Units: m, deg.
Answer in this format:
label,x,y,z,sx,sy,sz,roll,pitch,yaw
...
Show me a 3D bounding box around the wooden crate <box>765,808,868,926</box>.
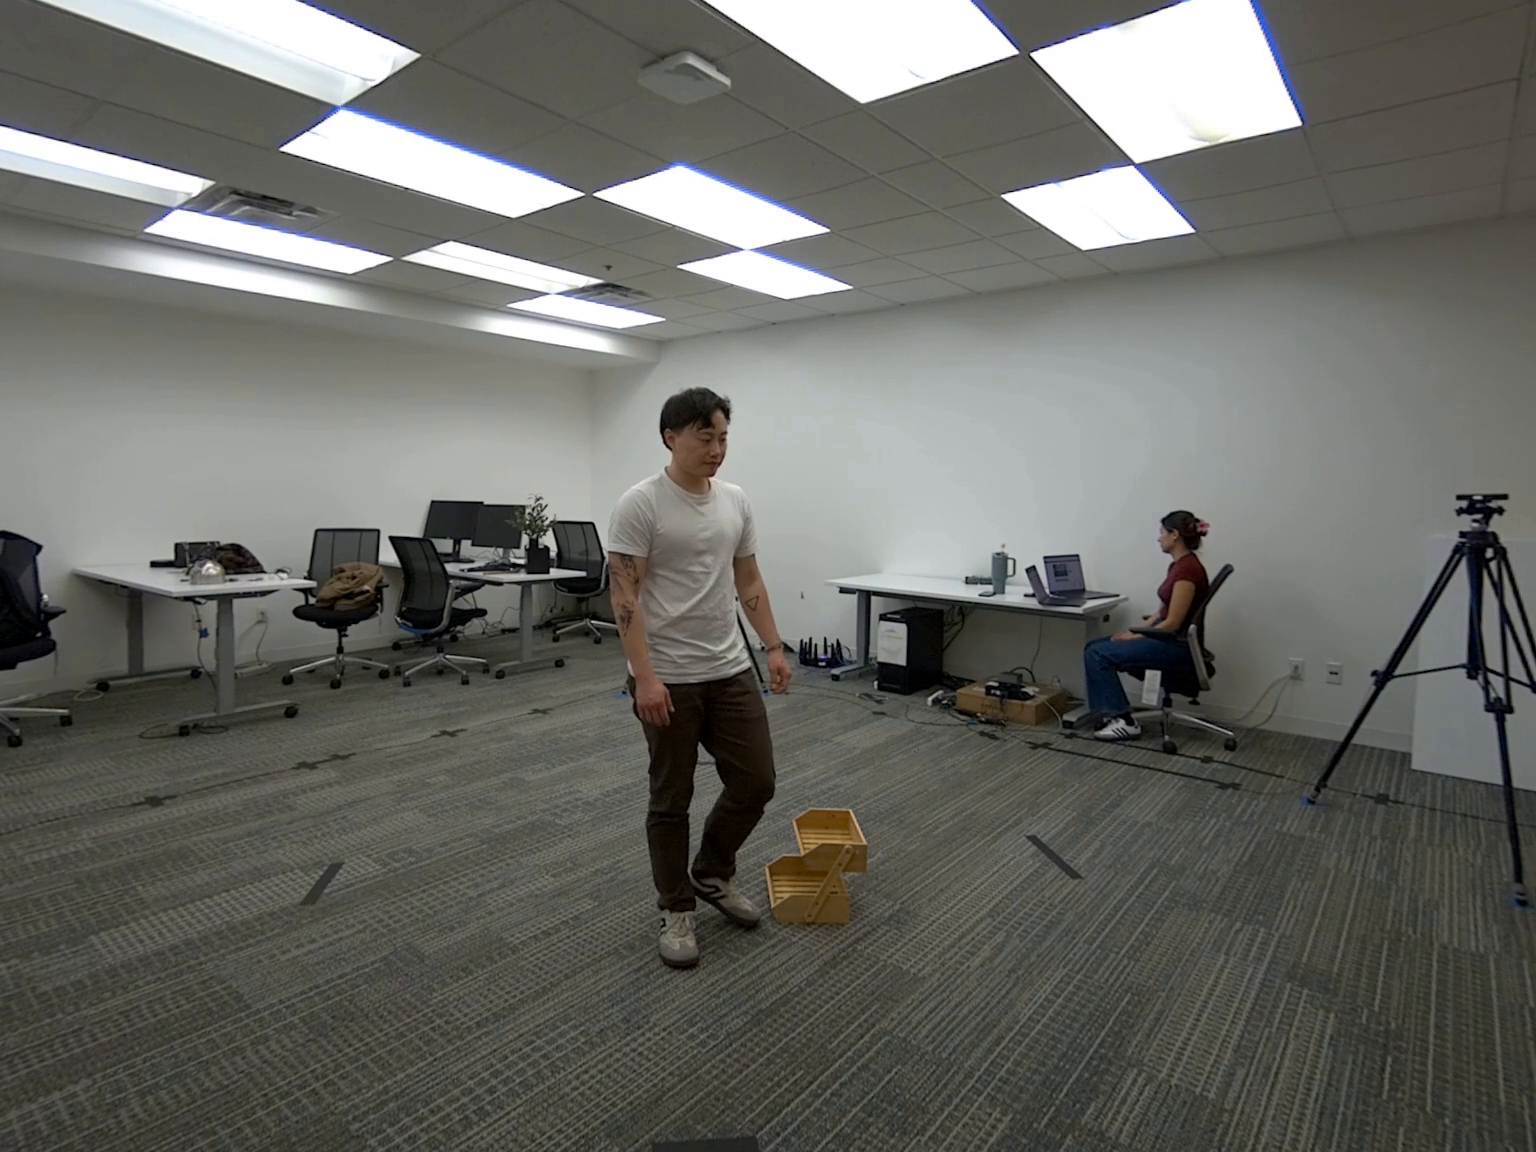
label,x,y,z,sx,sy,sz,roll,pitch,yaw
wooden crate,0.143,0.963,2.866,0.301,0.272,0.327,1,5,-3
